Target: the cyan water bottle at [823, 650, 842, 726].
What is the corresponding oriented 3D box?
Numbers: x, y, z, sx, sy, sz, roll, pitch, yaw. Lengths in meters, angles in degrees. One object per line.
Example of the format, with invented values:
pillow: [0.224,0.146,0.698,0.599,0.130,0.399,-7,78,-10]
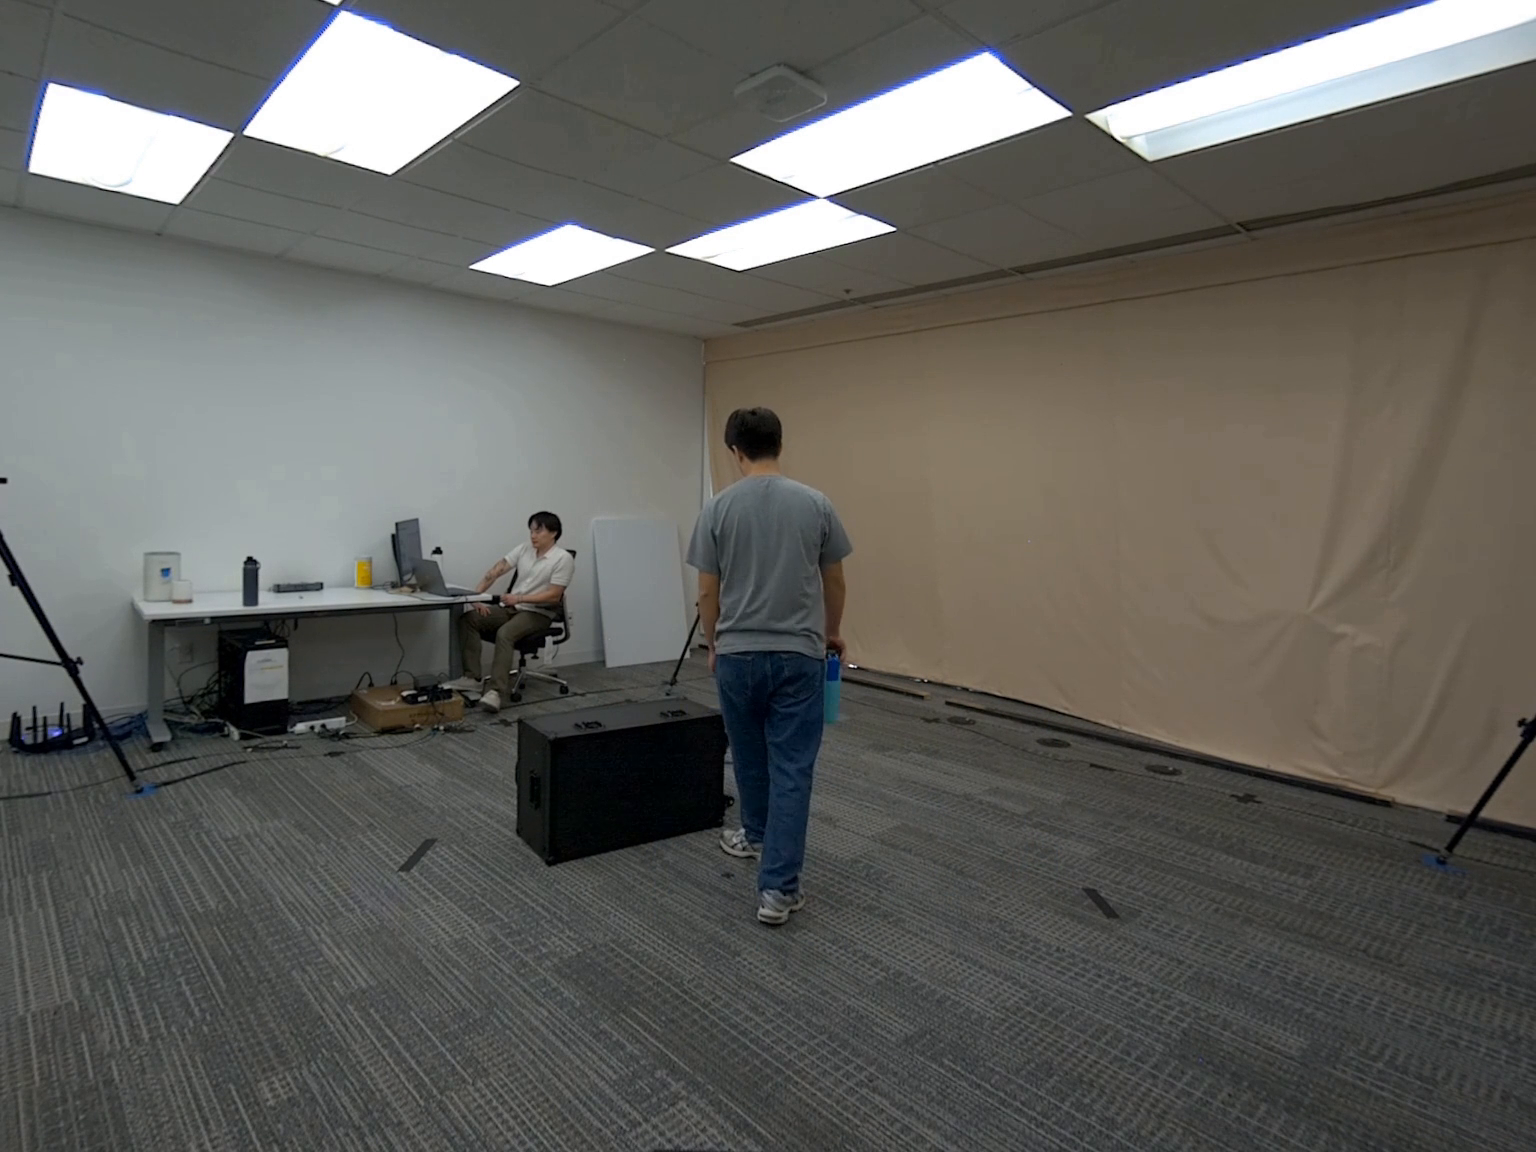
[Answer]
cyan water bottle: [0.213,0.421,3.227,0.092,0.281,0.093,4,13,-2]
